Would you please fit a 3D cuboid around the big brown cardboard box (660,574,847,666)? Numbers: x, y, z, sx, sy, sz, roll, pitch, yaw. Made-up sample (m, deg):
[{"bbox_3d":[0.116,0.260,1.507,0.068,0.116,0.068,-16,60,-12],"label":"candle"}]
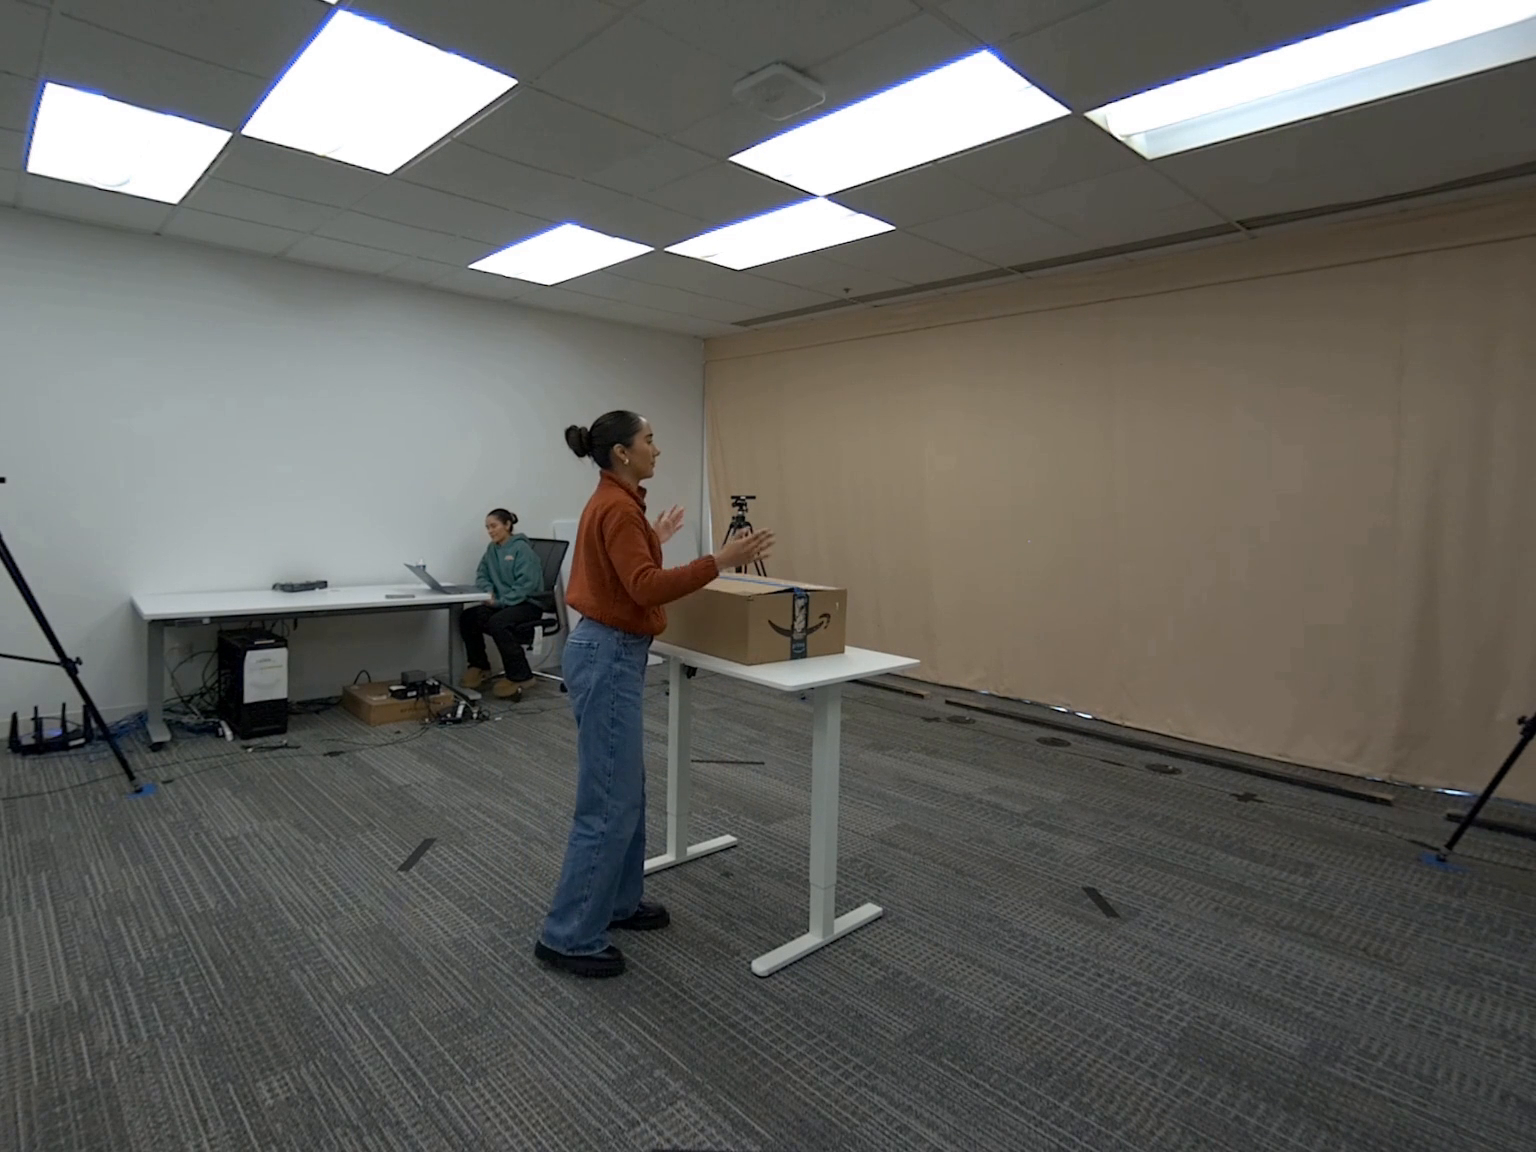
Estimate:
[{"bbox_3d":[-0.083,0.133,2.889,0.408,0.232,0.603,-3,6,-38],"label":"big brown cardboard box"}]
